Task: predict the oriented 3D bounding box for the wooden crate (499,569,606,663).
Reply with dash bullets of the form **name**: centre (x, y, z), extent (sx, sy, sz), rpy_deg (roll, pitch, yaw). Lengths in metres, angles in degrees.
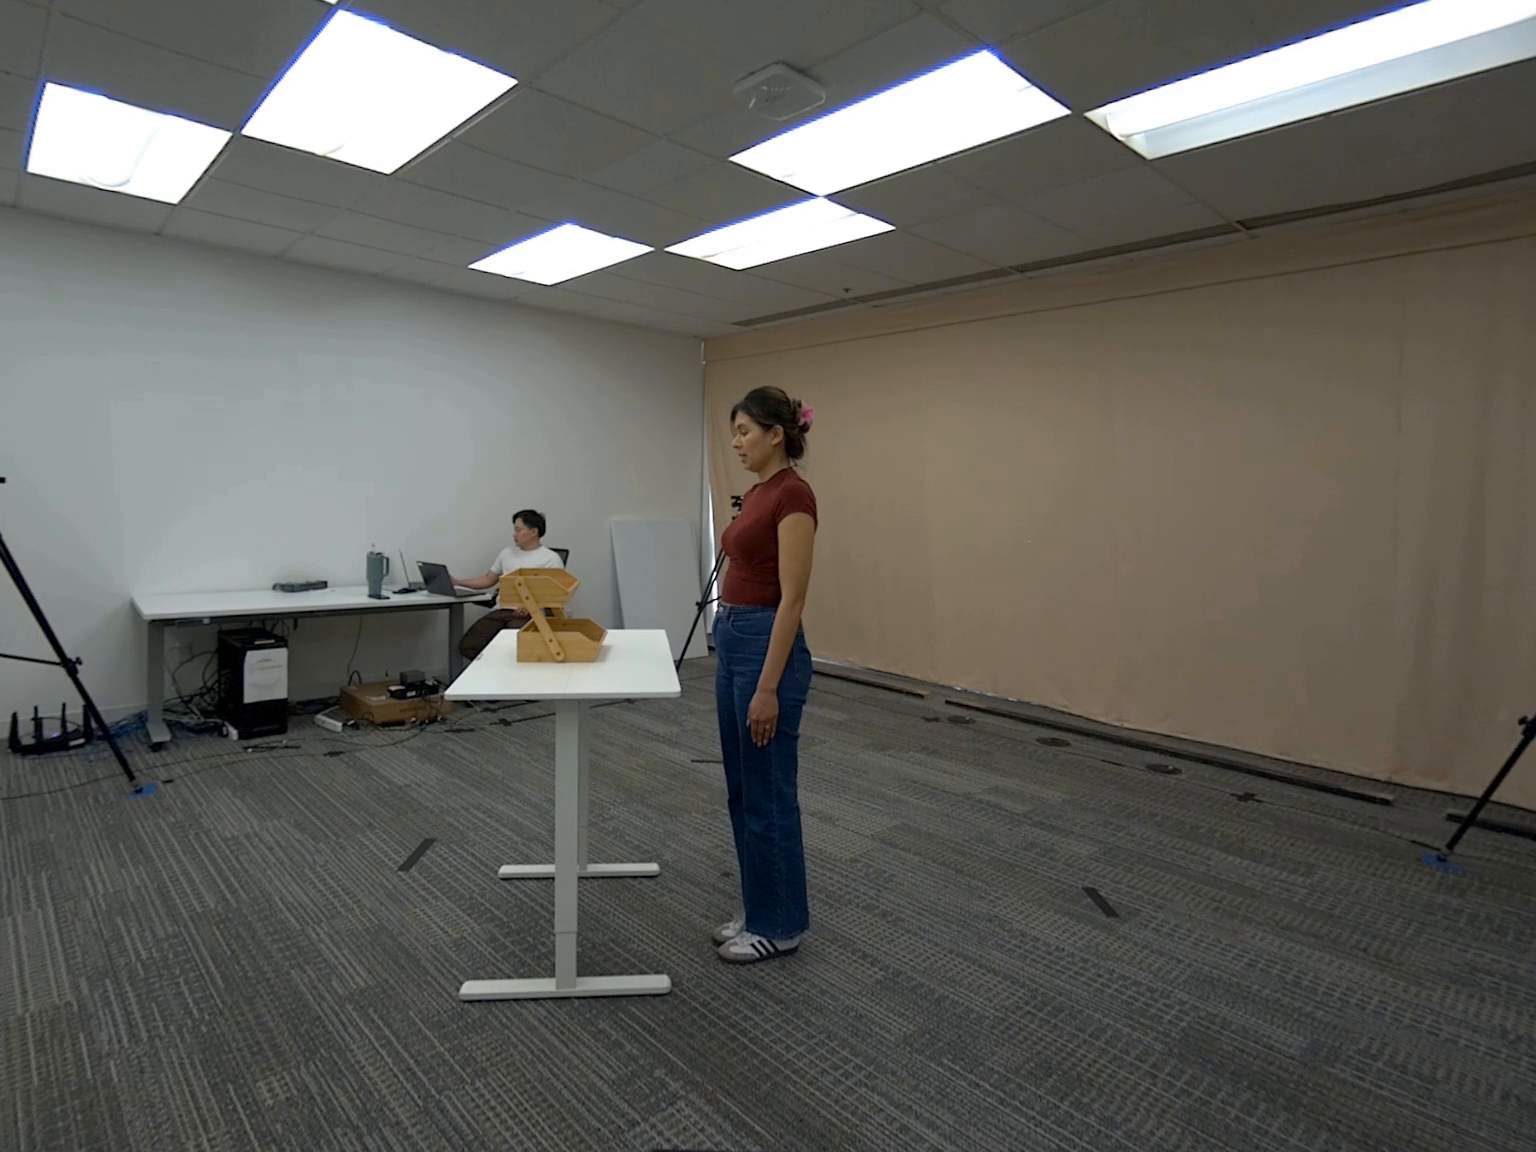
- **wooden crate**: centre (-0.673, 0.117, 2.684), extent (0.301, 0.272, 0.327), rpy_deg (0, 4, -6)
